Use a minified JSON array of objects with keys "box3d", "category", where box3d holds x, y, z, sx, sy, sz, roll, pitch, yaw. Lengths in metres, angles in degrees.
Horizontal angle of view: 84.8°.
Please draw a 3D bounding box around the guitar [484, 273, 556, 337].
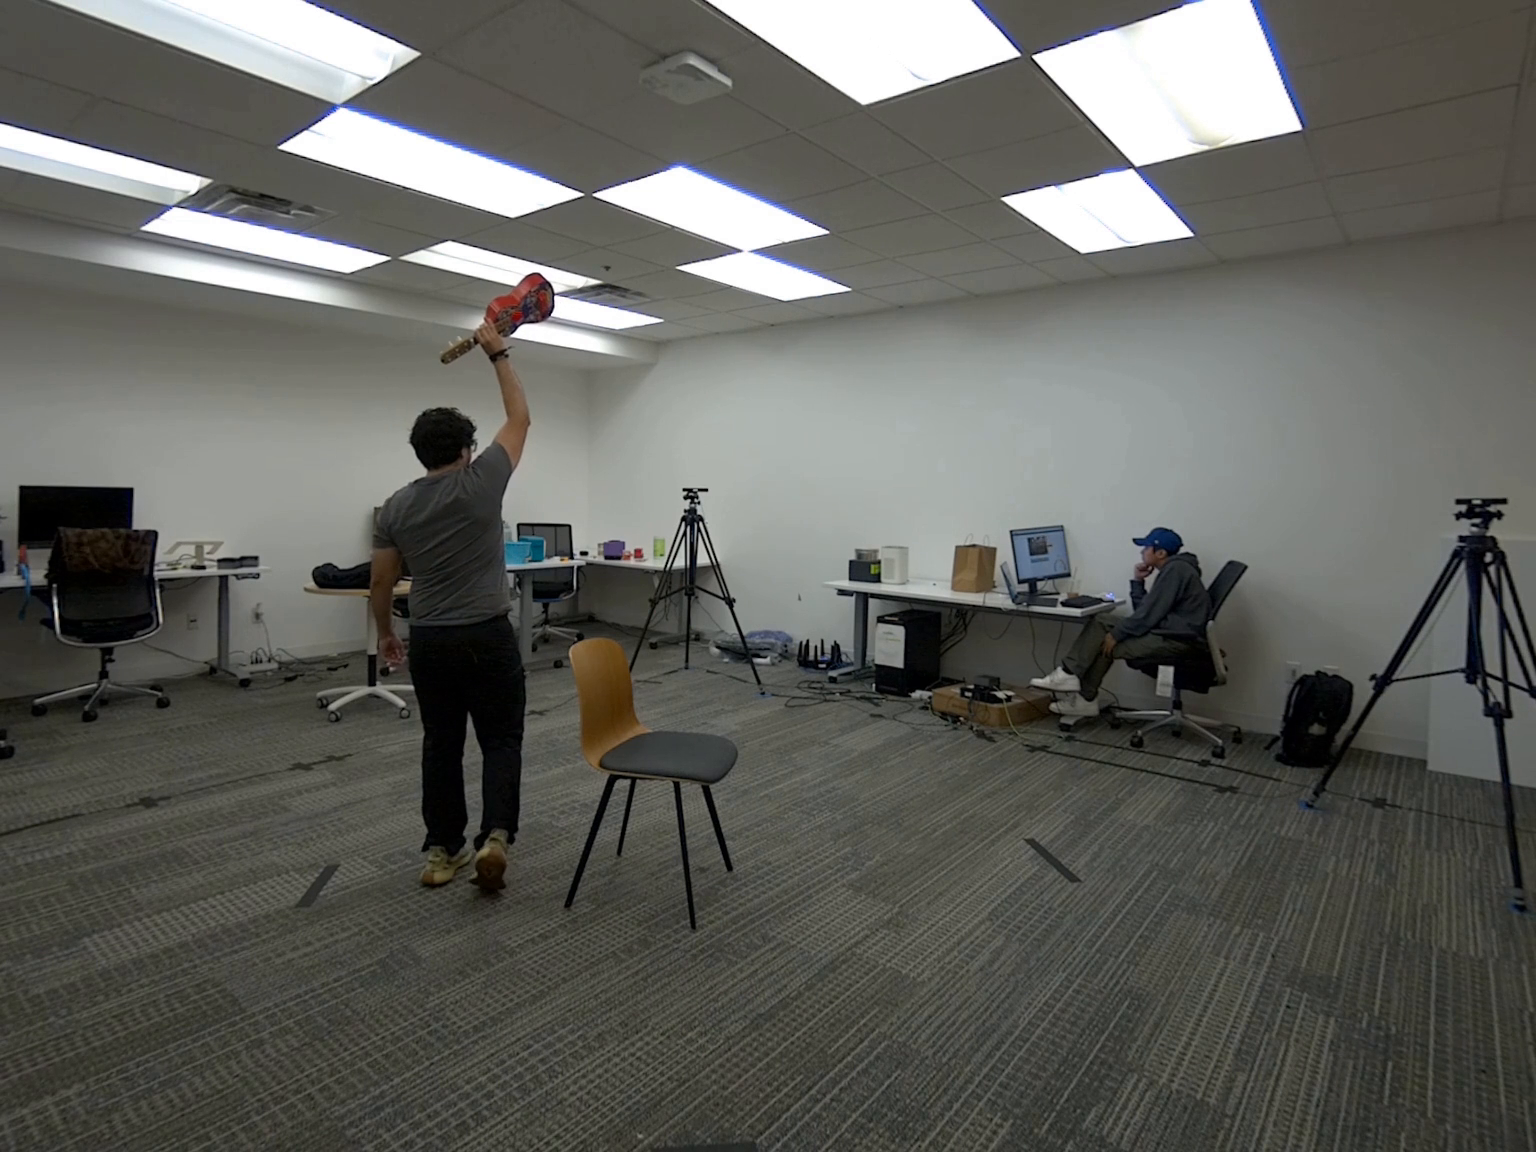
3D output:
[{"box3d":[-1.003,-0.943,3.089,0.494,0.072,0.189,-37,-20,-28],"category":"guitar"}]
